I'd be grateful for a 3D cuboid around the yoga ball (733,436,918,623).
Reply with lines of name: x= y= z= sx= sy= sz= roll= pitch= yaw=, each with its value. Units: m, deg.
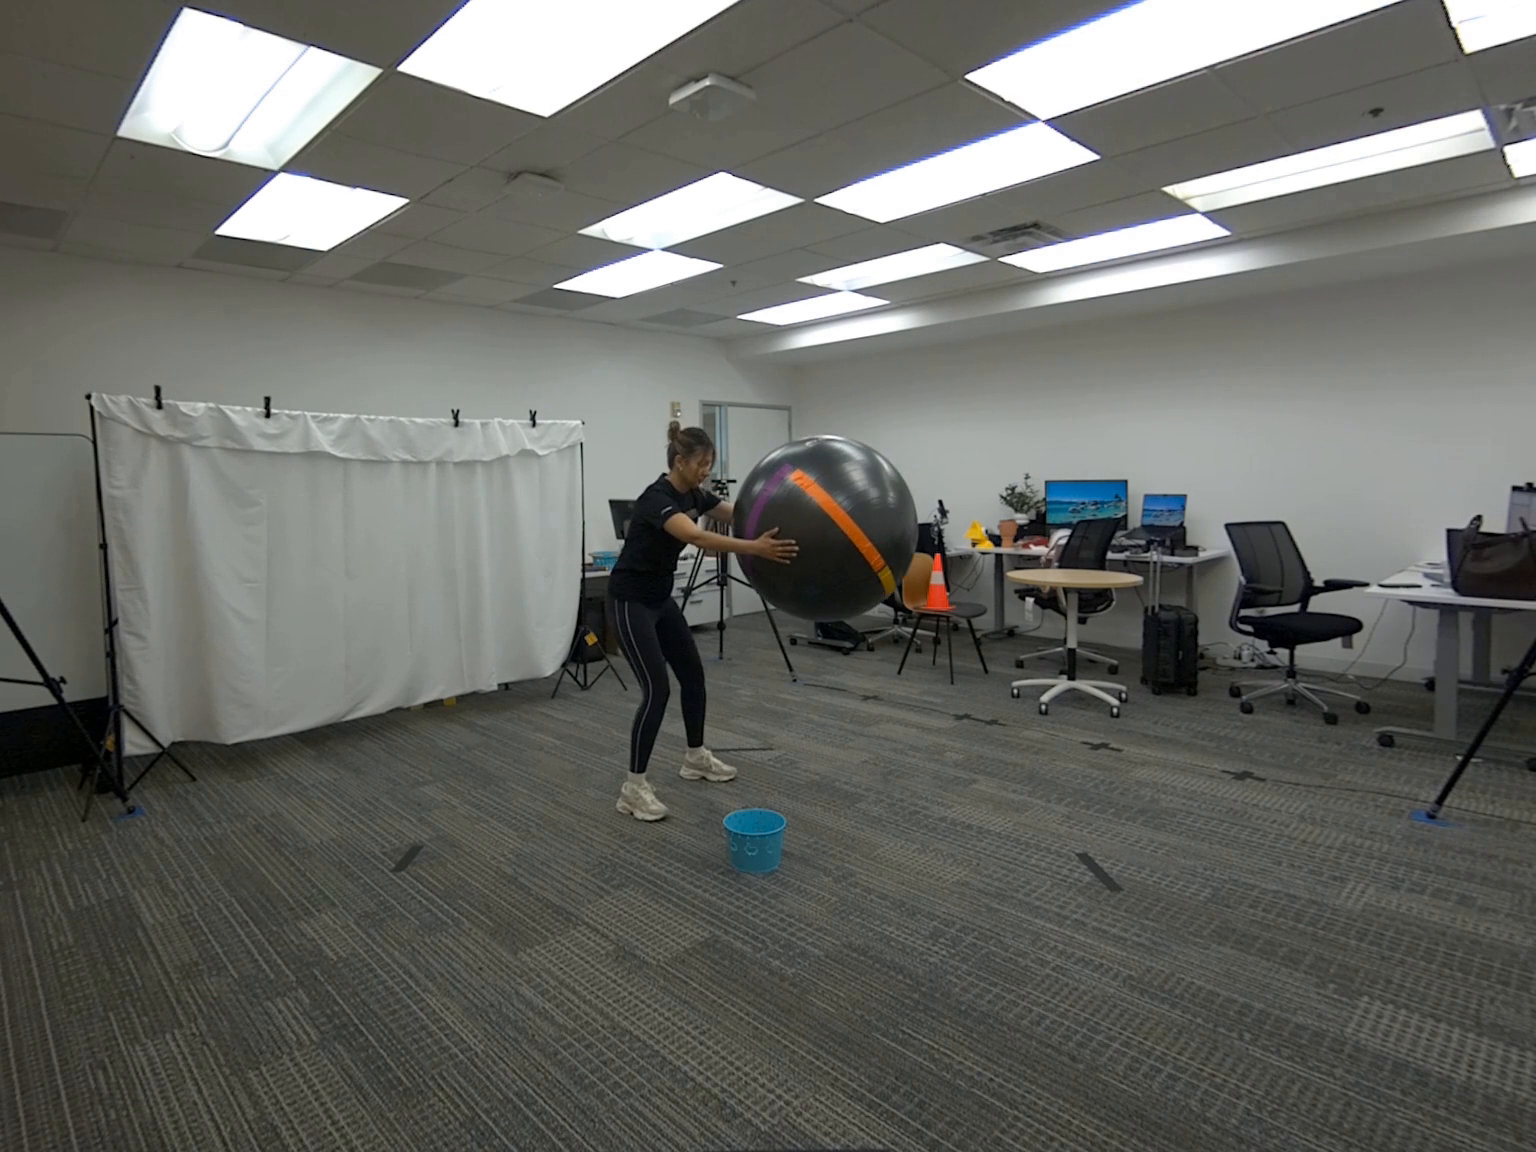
yoga ball: x=0.226 y=-0.181 z=3.501 sx=0.757 sy=0.755 sz=0.762 roll=-1 pitch=5 yaw=-2
